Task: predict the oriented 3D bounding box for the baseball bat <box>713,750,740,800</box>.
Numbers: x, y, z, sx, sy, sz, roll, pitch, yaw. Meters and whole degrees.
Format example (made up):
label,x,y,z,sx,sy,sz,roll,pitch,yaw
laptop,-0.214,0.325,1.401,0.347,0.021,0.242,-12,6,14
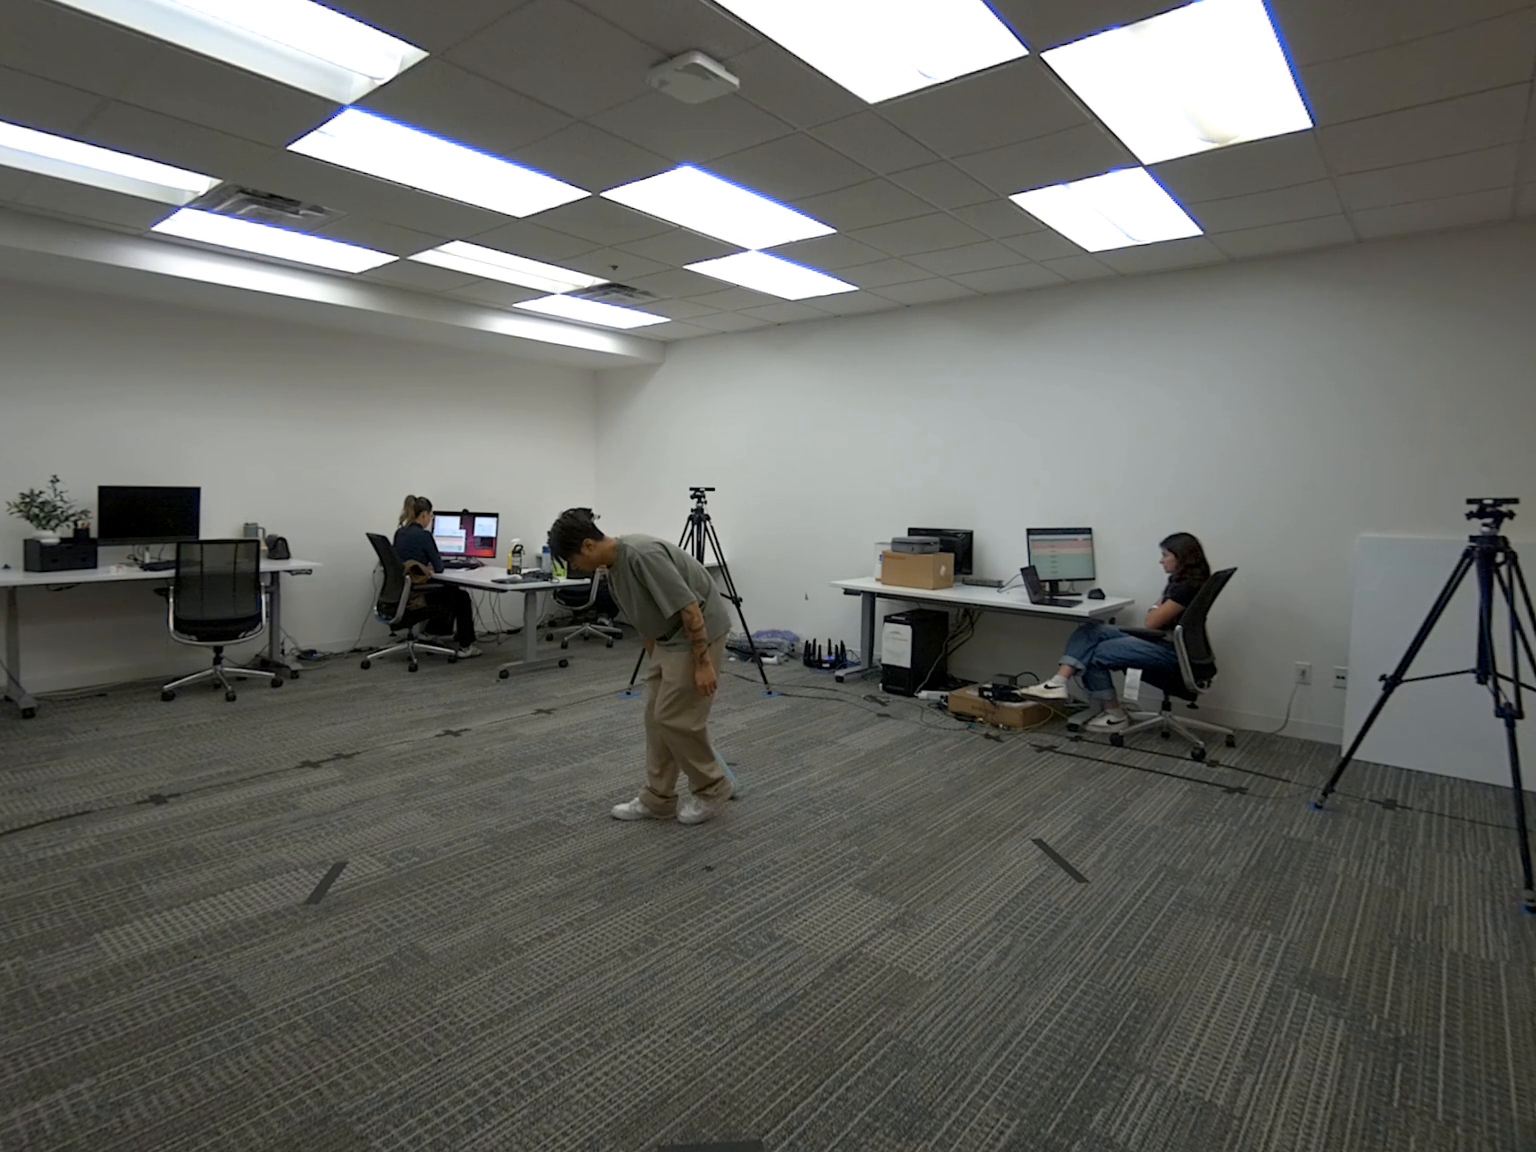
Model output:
label,x,y,z,sx,sy,sz,roll,pitch,yaw
baseball bat,-0.306,0.751,3.828,0.089,0.542,0.089,-34,1,0
